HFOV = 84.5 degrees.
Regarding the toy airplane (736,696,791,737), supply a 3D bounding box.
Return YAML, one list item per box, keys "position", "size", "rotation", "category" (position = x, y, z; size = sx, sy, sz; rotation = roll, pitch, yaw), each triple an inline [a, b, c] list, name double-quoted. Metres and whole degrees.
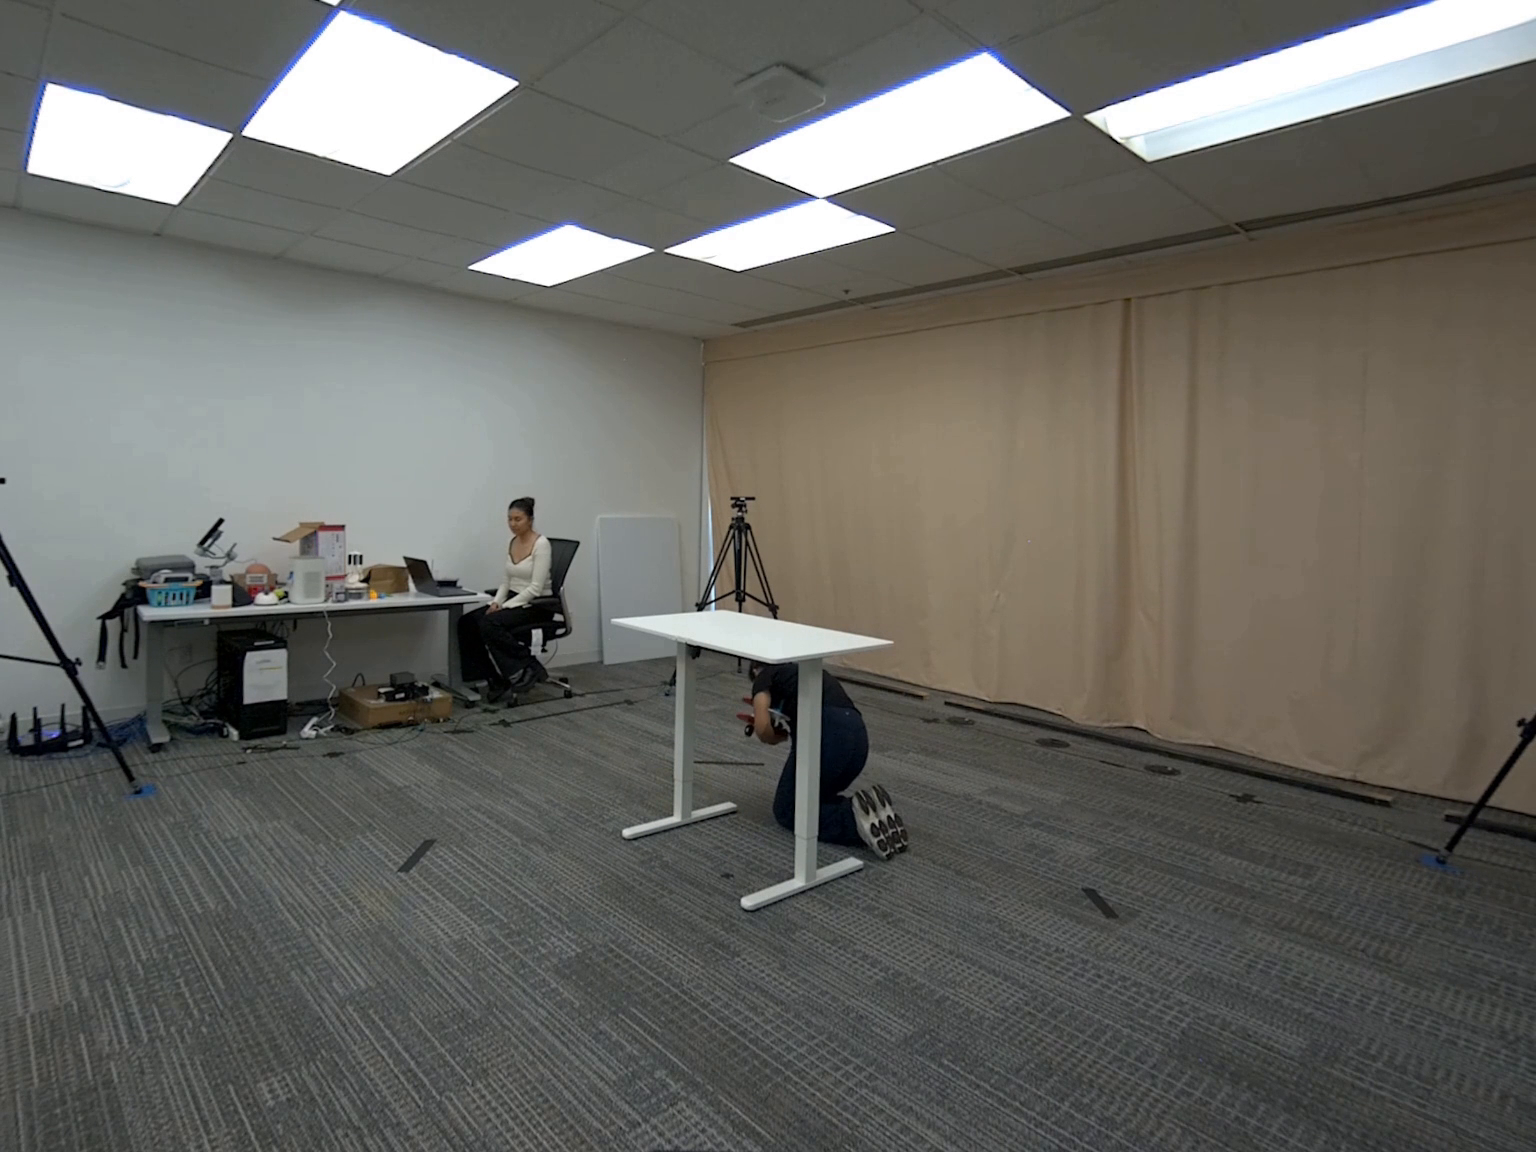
- position: [0.003, 0.632, 3.749]
  size: [0.263, 0.159, 0.243]
  rotation: [-13, -41, 32]
  category: "toy airplane"
